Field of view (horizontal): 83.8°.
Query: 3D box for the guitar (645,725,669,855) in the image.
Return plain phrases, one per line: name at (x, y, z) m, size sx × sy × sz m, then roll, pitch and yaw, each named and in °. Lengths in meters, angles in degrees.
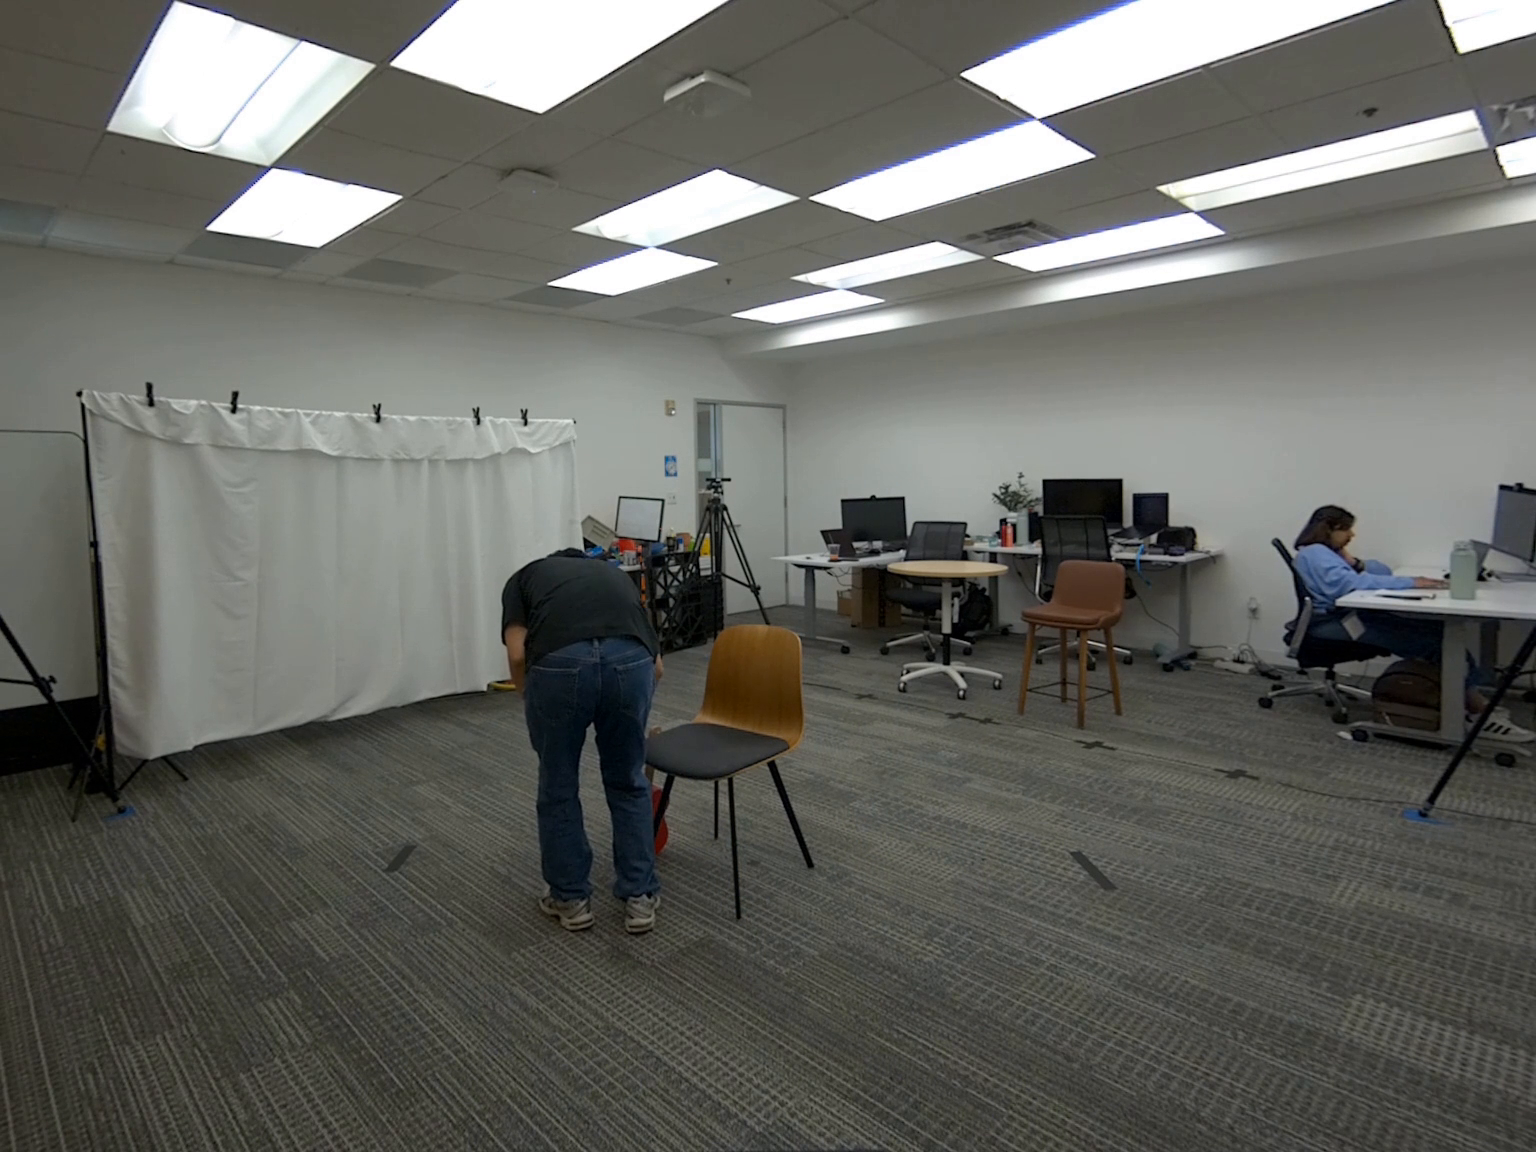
guitar at (-0.439, 0.801, 3.107) m, size 0.073 × 0.491 × 0.189 m, roll 18°, pitch 20°, yaw 38°
